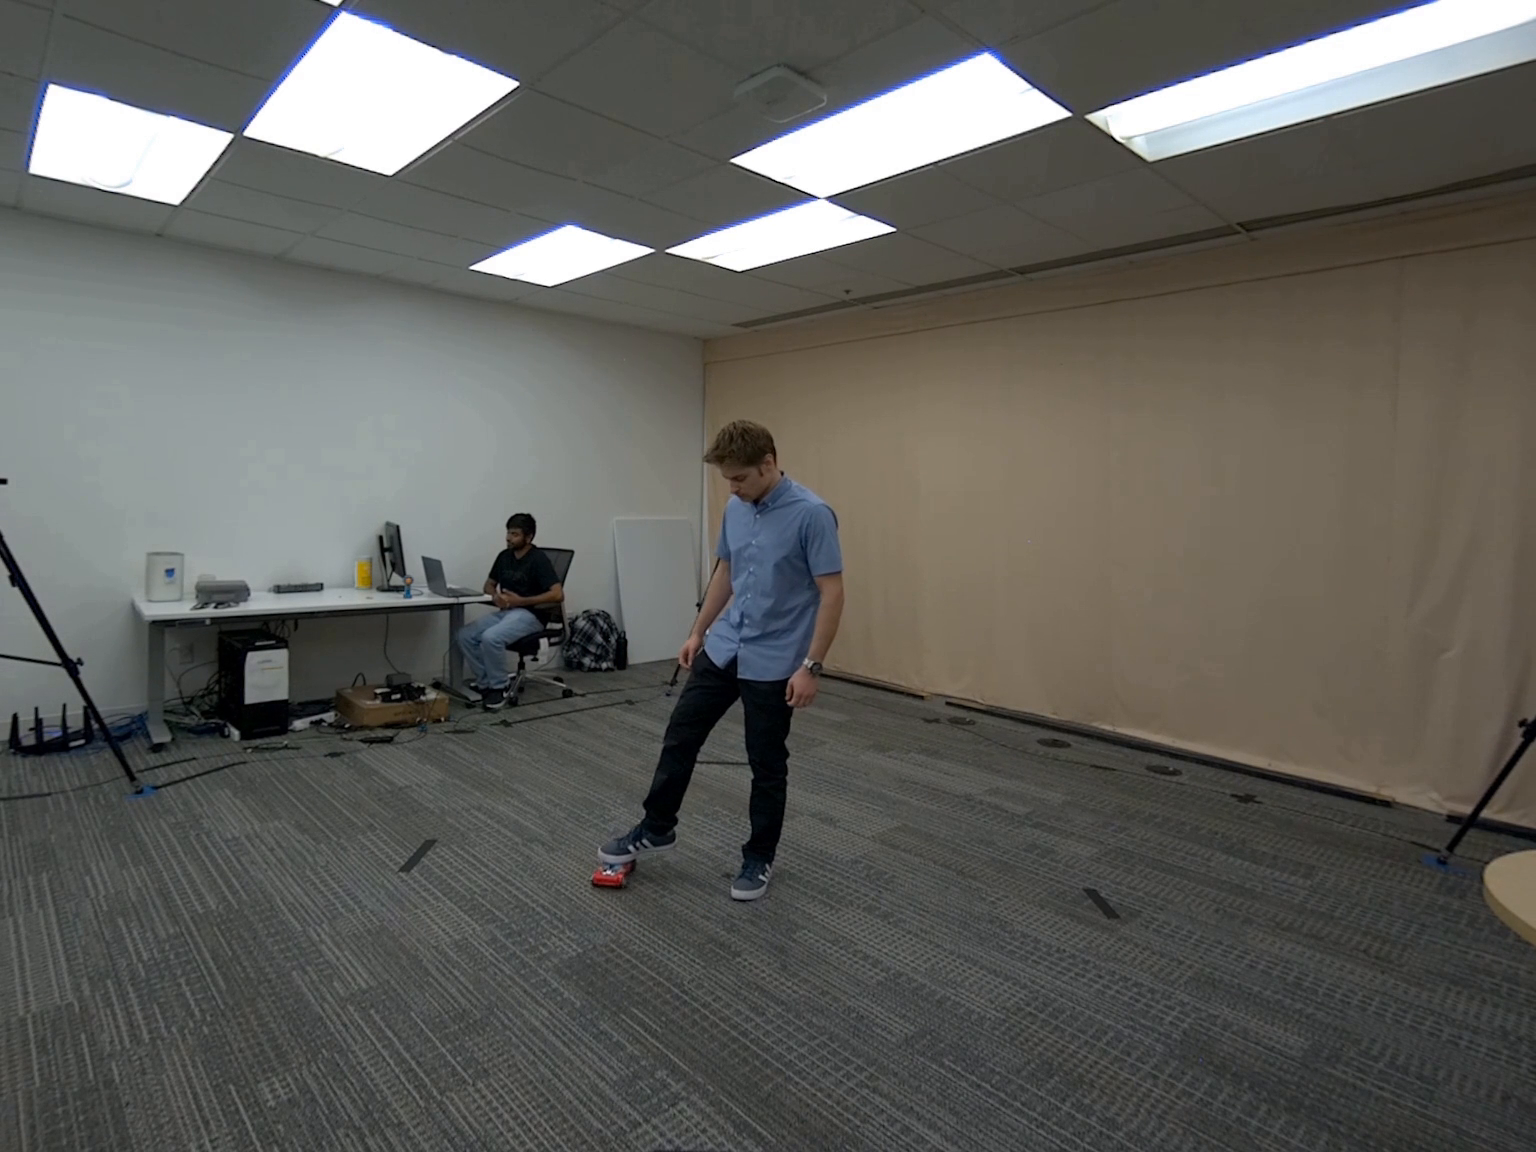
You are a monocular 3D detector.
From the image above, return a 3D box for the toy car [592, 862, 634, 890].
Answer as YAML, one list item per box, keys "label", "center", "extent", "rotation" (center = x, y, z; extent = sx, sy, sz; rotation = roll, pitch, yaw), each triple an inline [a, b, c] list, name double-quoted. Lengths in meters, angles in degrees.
- label: "toy car"
  center: [-0.558, 1.069, 3.088]
  extent: [0.131, 0.082, 0.255]
  rotation: [2, 16, 7]
